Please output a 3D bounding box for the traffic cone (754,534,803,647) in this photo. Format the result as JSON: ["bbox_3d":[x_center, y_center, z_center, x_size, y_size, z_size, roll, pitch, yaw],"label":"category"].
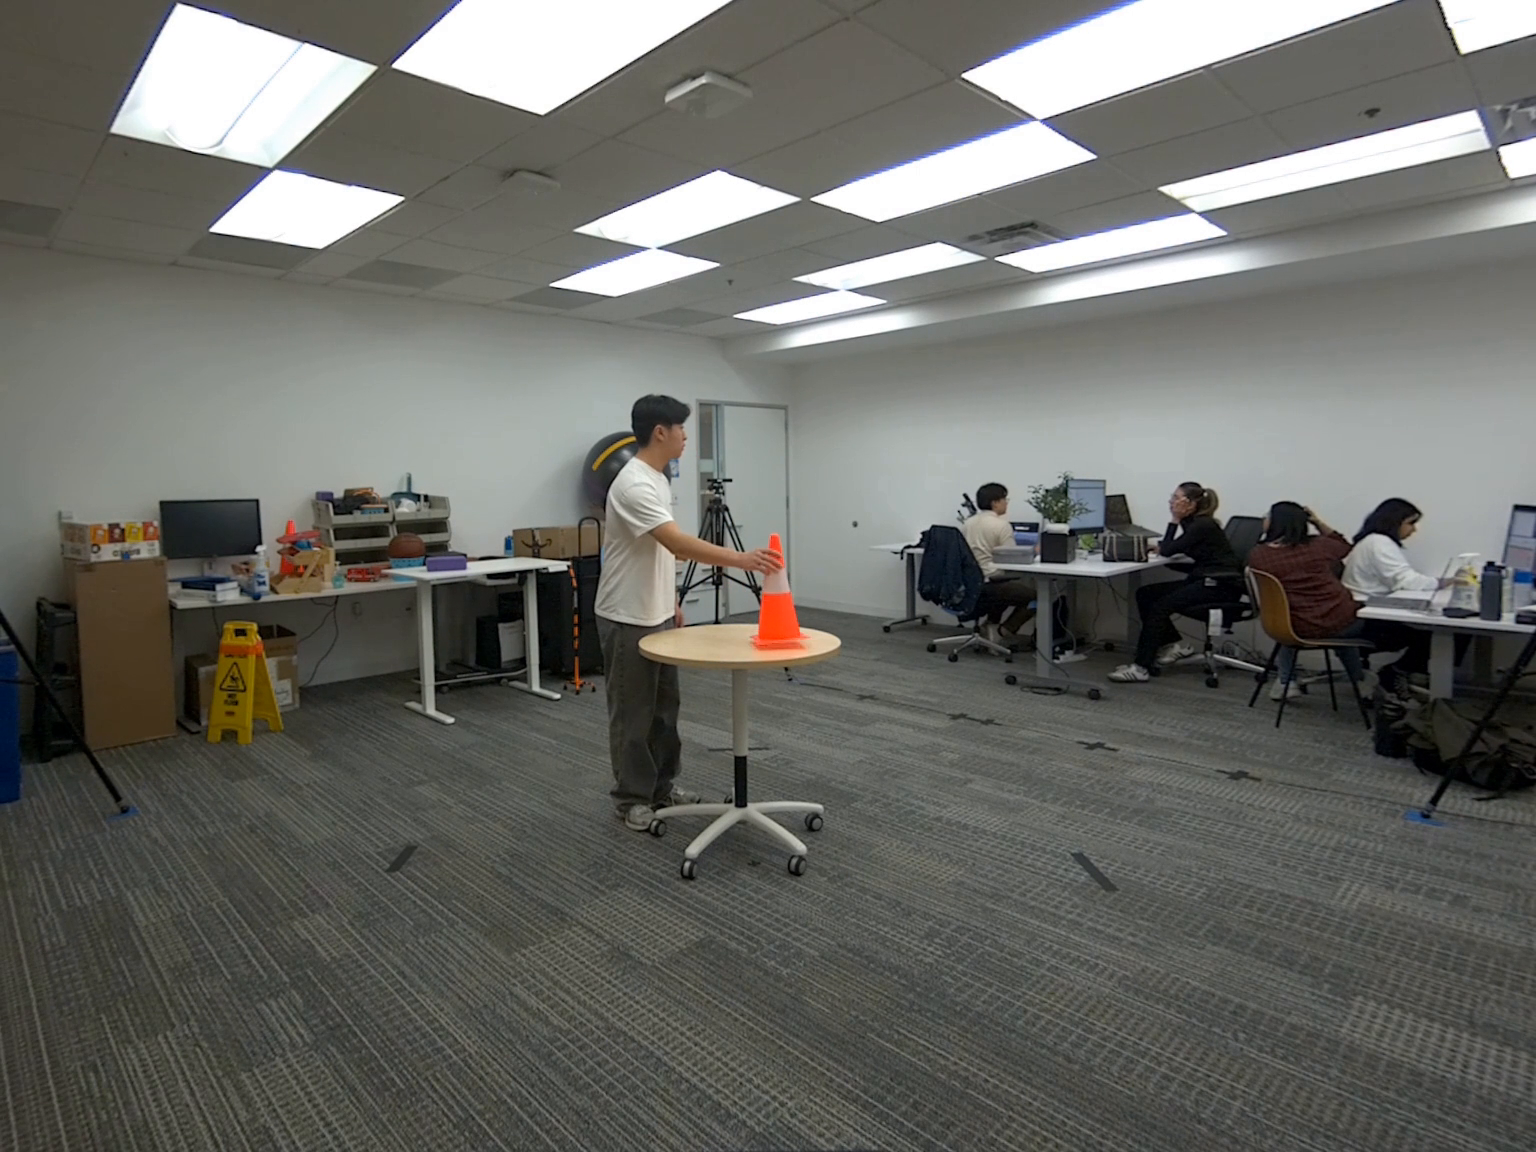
[{"bbox_3d":[0.026,0.039,3.151,0.202,0.382,0.207,-4,4,-9],"label":"traffic cone"}]
